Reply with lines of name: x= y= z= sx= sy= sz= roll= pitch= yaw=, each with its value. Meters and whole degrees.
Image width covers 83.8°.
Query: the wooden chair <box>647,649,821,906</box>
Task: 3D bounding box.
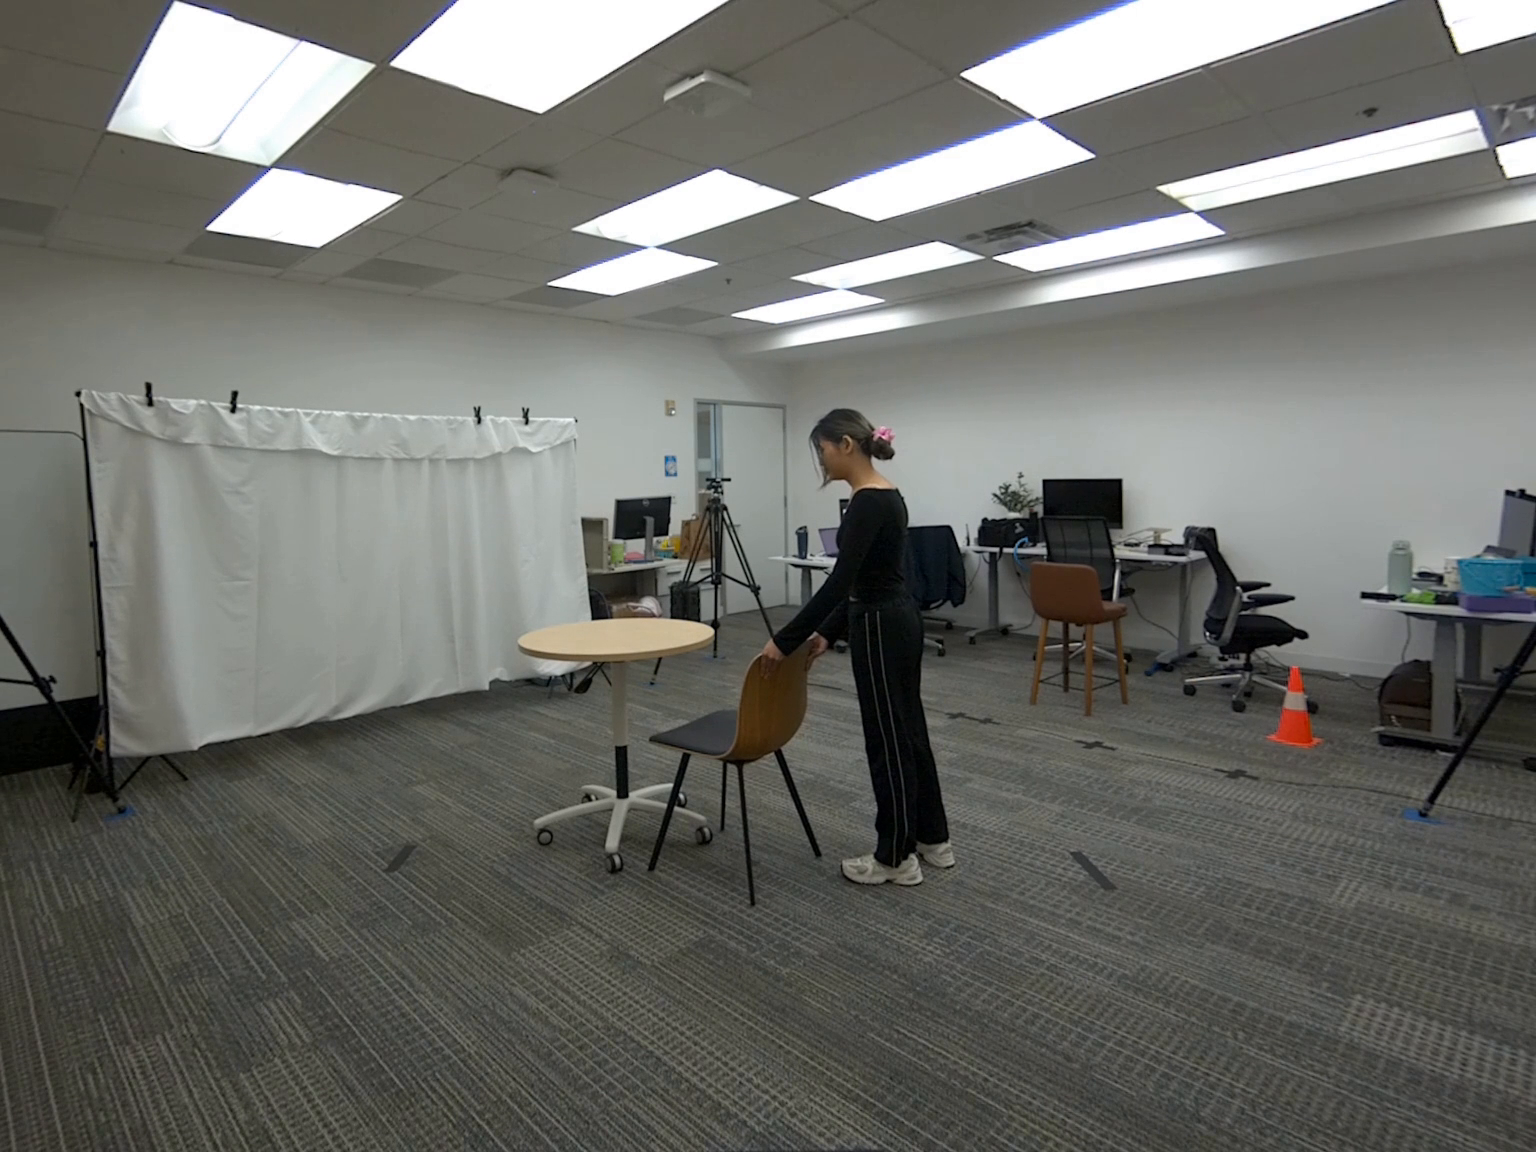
wooden chair: x=-0.125 y=0.618 z=3.067 sx=0.539 sy=0.872 sz=0.466 roll=7 pitch=8 yaw=34
